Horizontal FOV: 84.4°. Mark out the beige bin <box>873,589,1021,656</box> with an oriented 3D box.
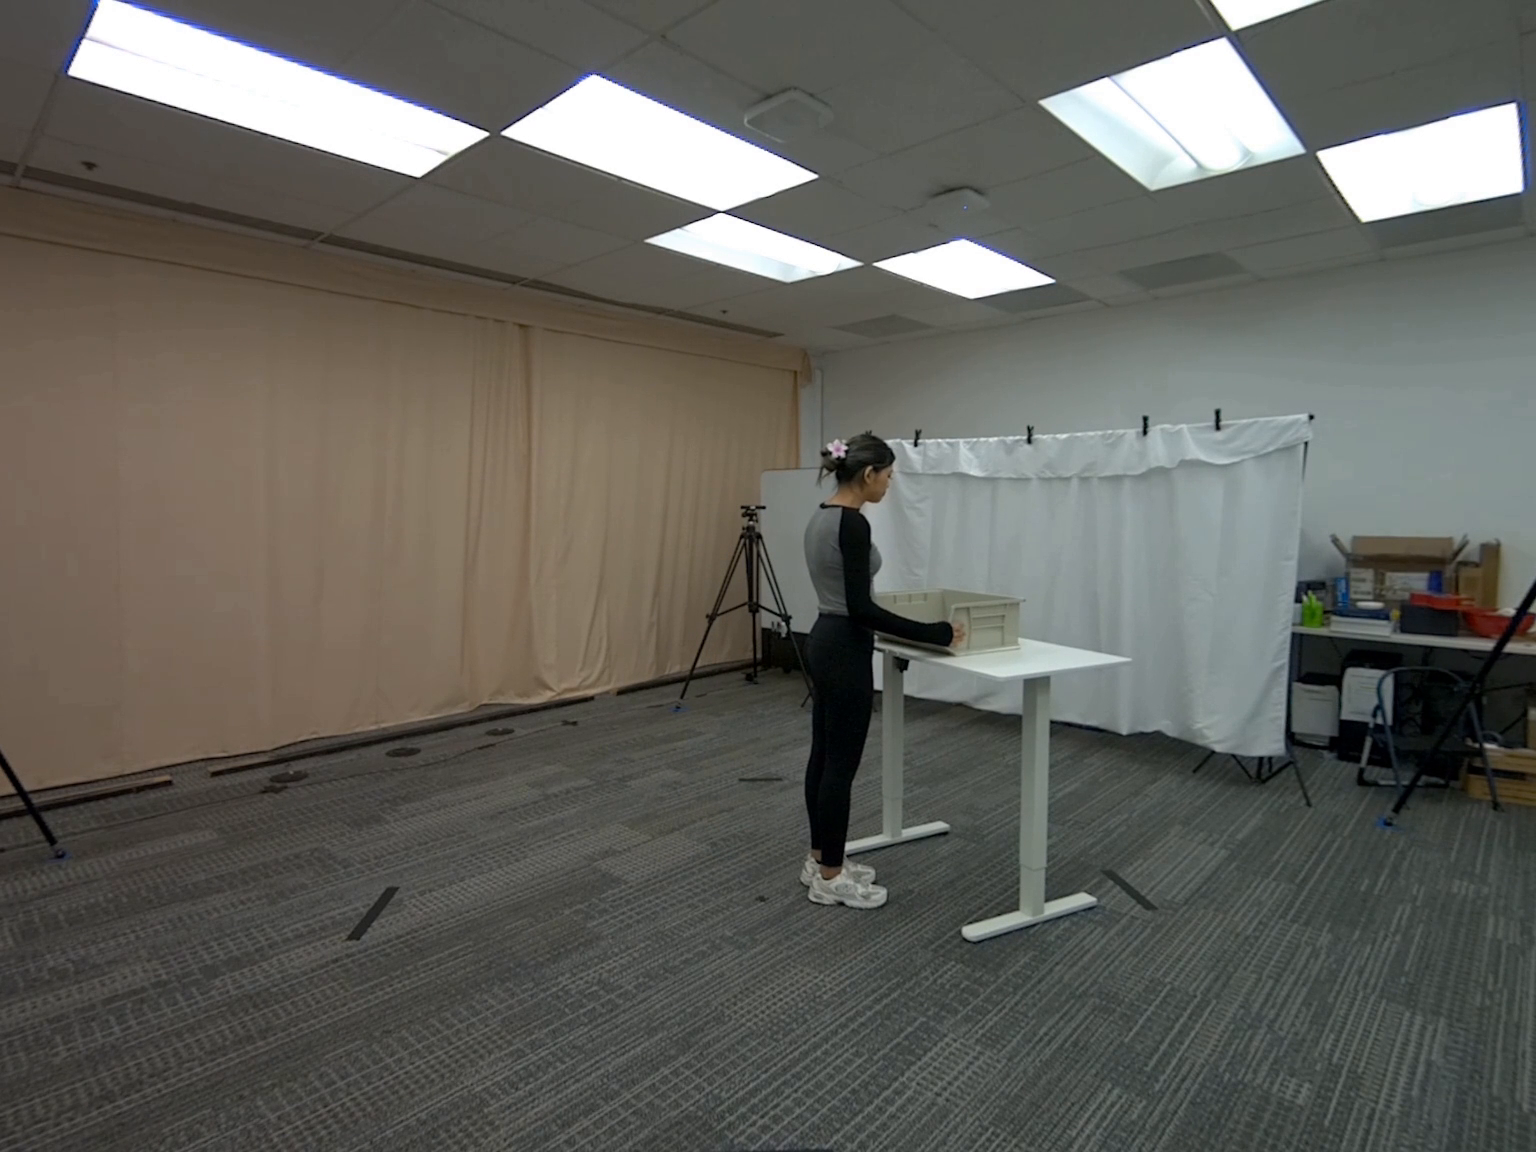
[{"bbox_3d":[0.649,0.163,3.070,0.367,0.188,0.435,-1,4,-31],"label":"beige bin"}]
